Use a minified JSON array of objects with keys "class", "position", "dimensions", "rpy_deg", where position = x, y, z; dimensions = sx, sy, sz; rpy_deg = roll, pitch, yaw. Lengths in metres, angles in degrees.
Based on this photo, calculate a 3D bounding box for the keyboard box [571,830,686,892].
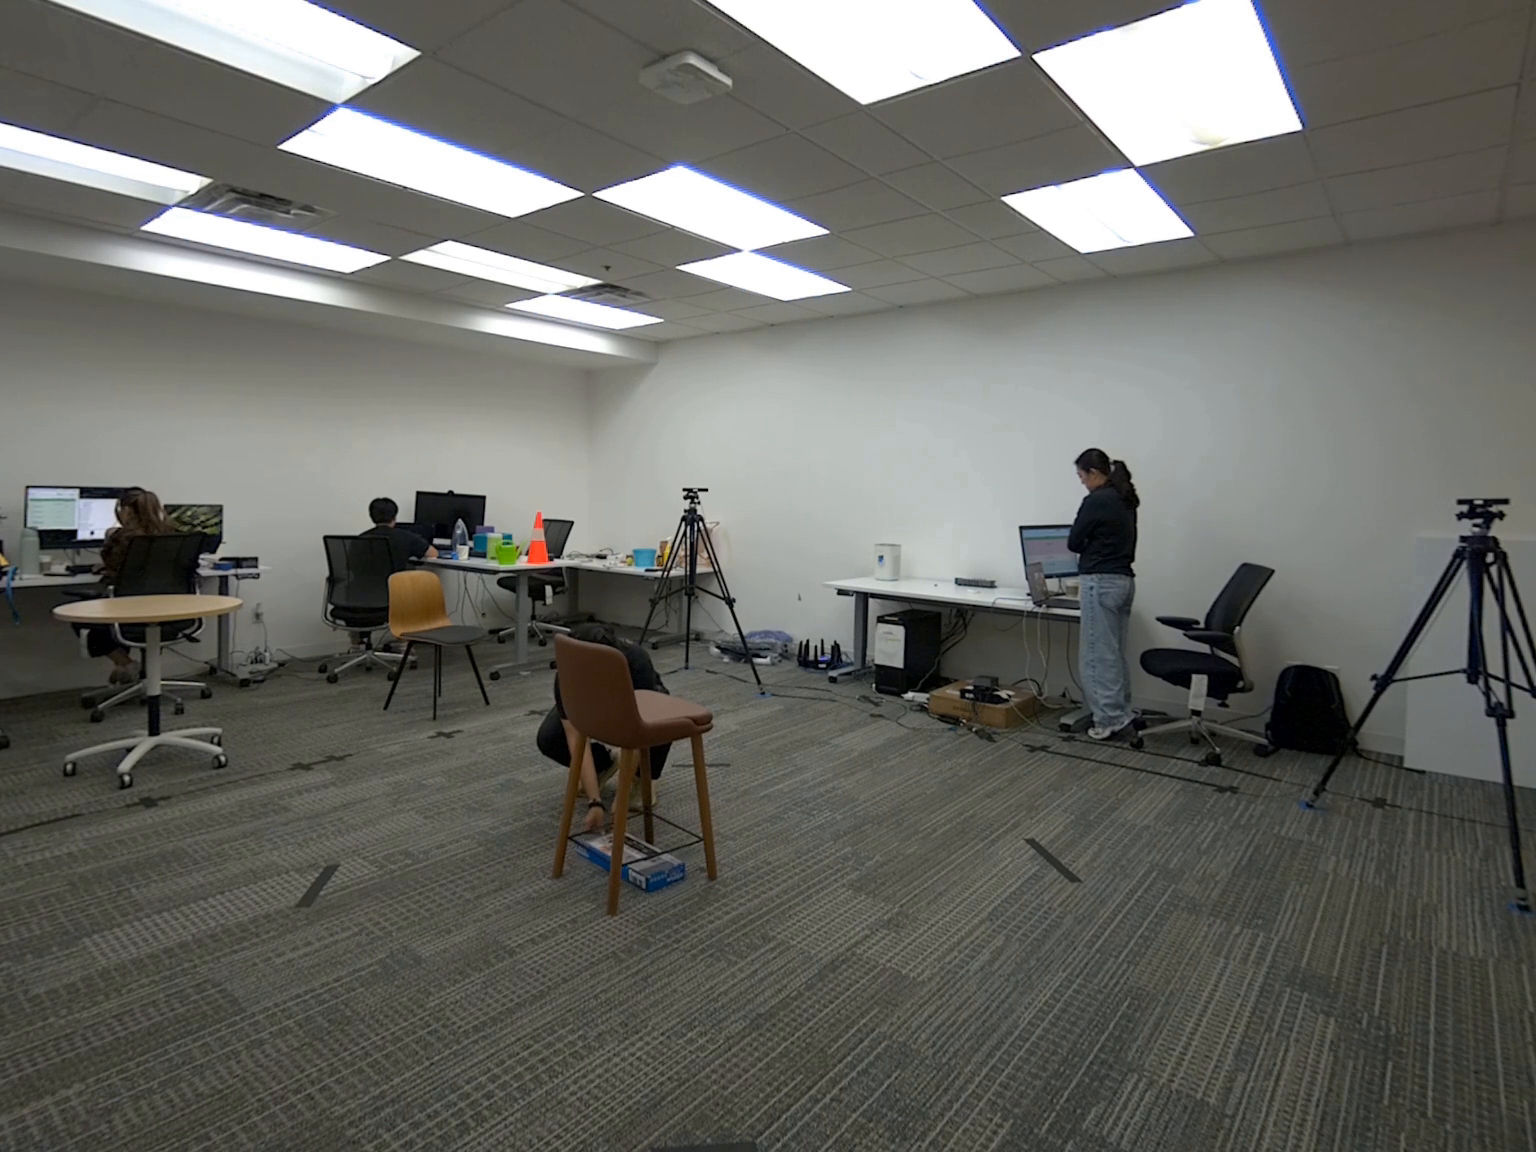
[{"class":"keyboard box","position":[-0.530,1.034,3.139],"dimensions":[0.171,0.059,0.452],"rpy_deg":[-5,8,-45]}]
